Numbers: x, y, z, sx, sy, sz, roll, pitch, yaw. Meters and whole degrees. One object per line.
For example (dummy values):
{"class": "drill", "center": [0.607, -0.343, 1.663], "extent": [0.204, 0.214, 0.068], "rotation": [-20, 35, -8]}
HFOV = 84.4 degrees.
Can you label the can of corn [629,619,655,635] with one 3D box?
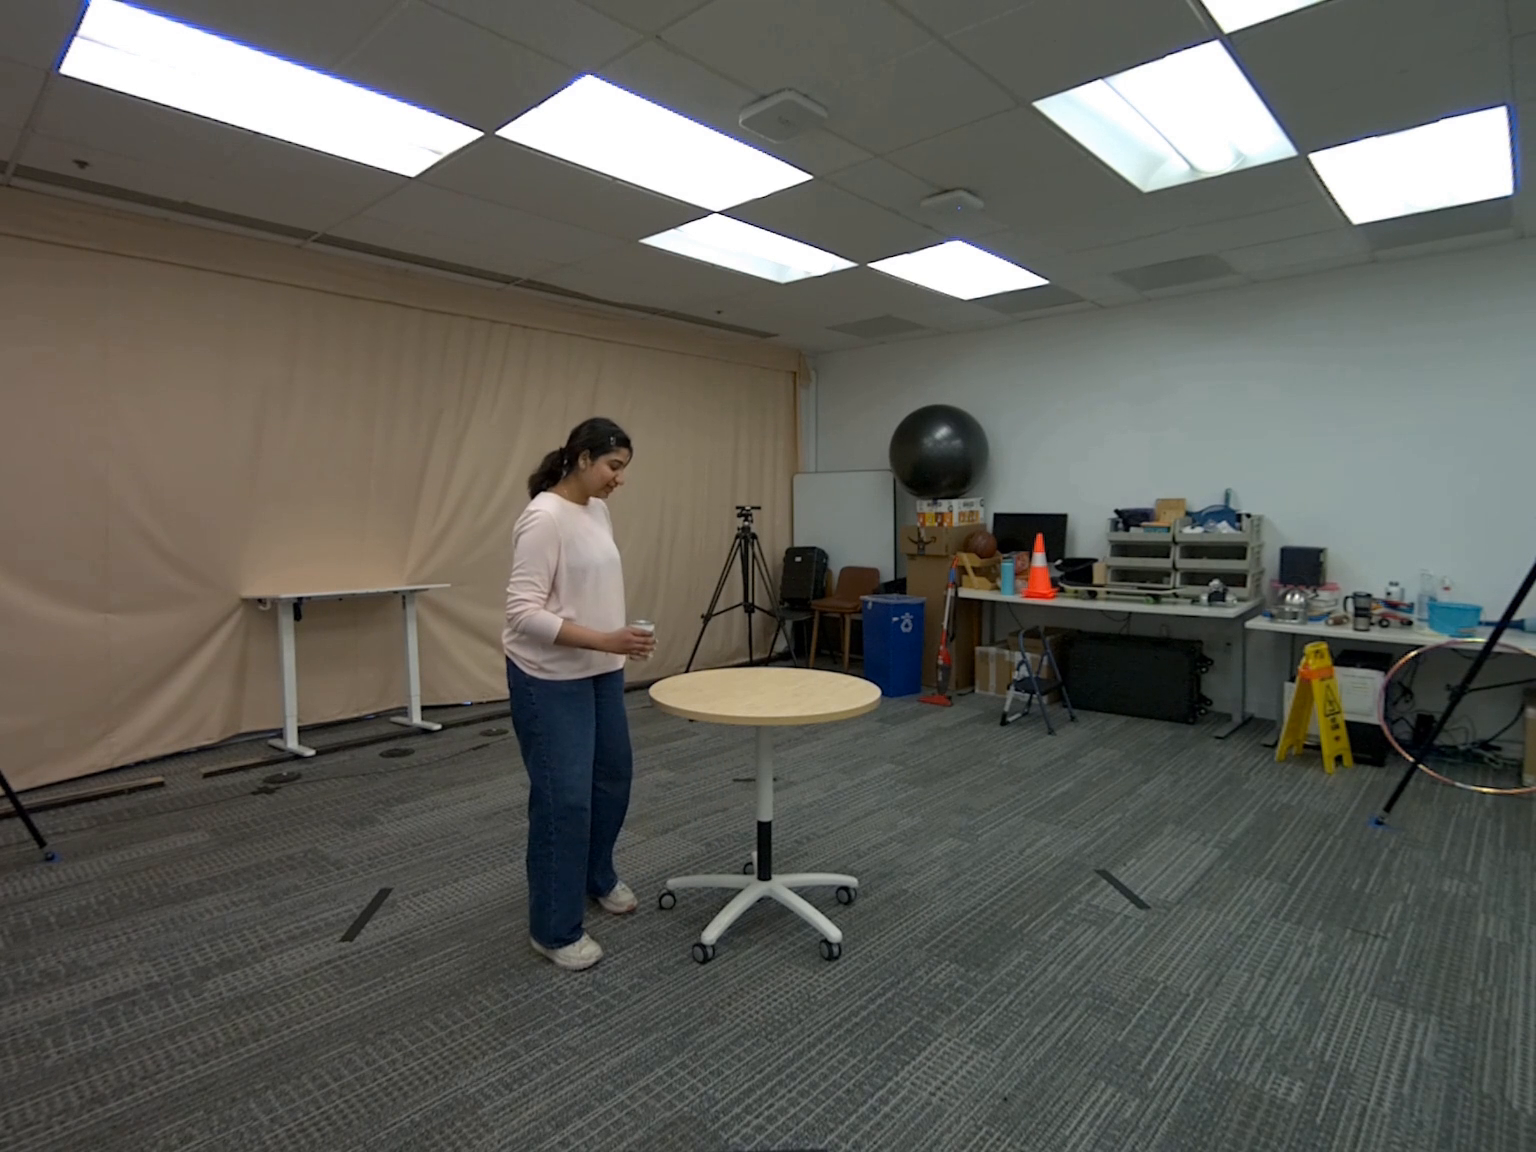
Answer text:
{"class": "can of corn", "center": [-0.387, 0.197, 2.510], "extent": [0.074, 0.111, 0.074], "rotation": [2, 5, -2]}
